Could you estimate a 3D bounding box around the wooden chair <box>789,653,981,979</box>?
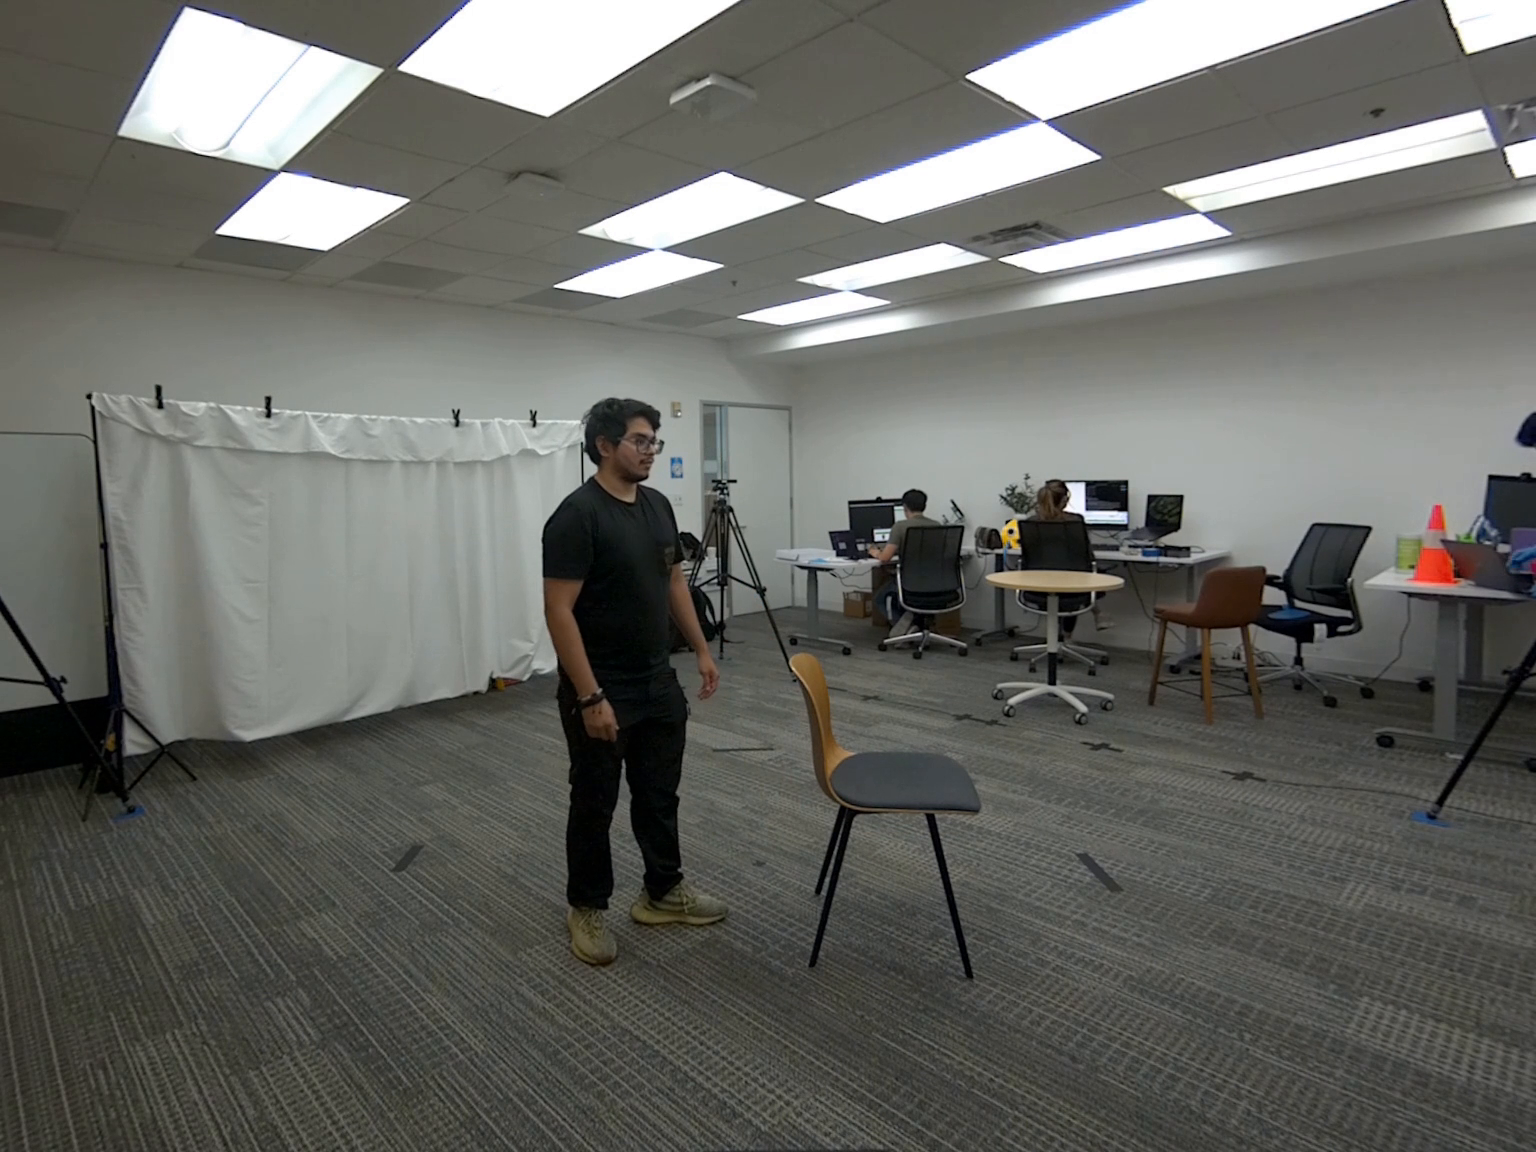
[{"bbox_3d":[0.368,0.668,2.605,0.527,0.875,0.476,-5,3,7],"label":"wooden chair"}]
